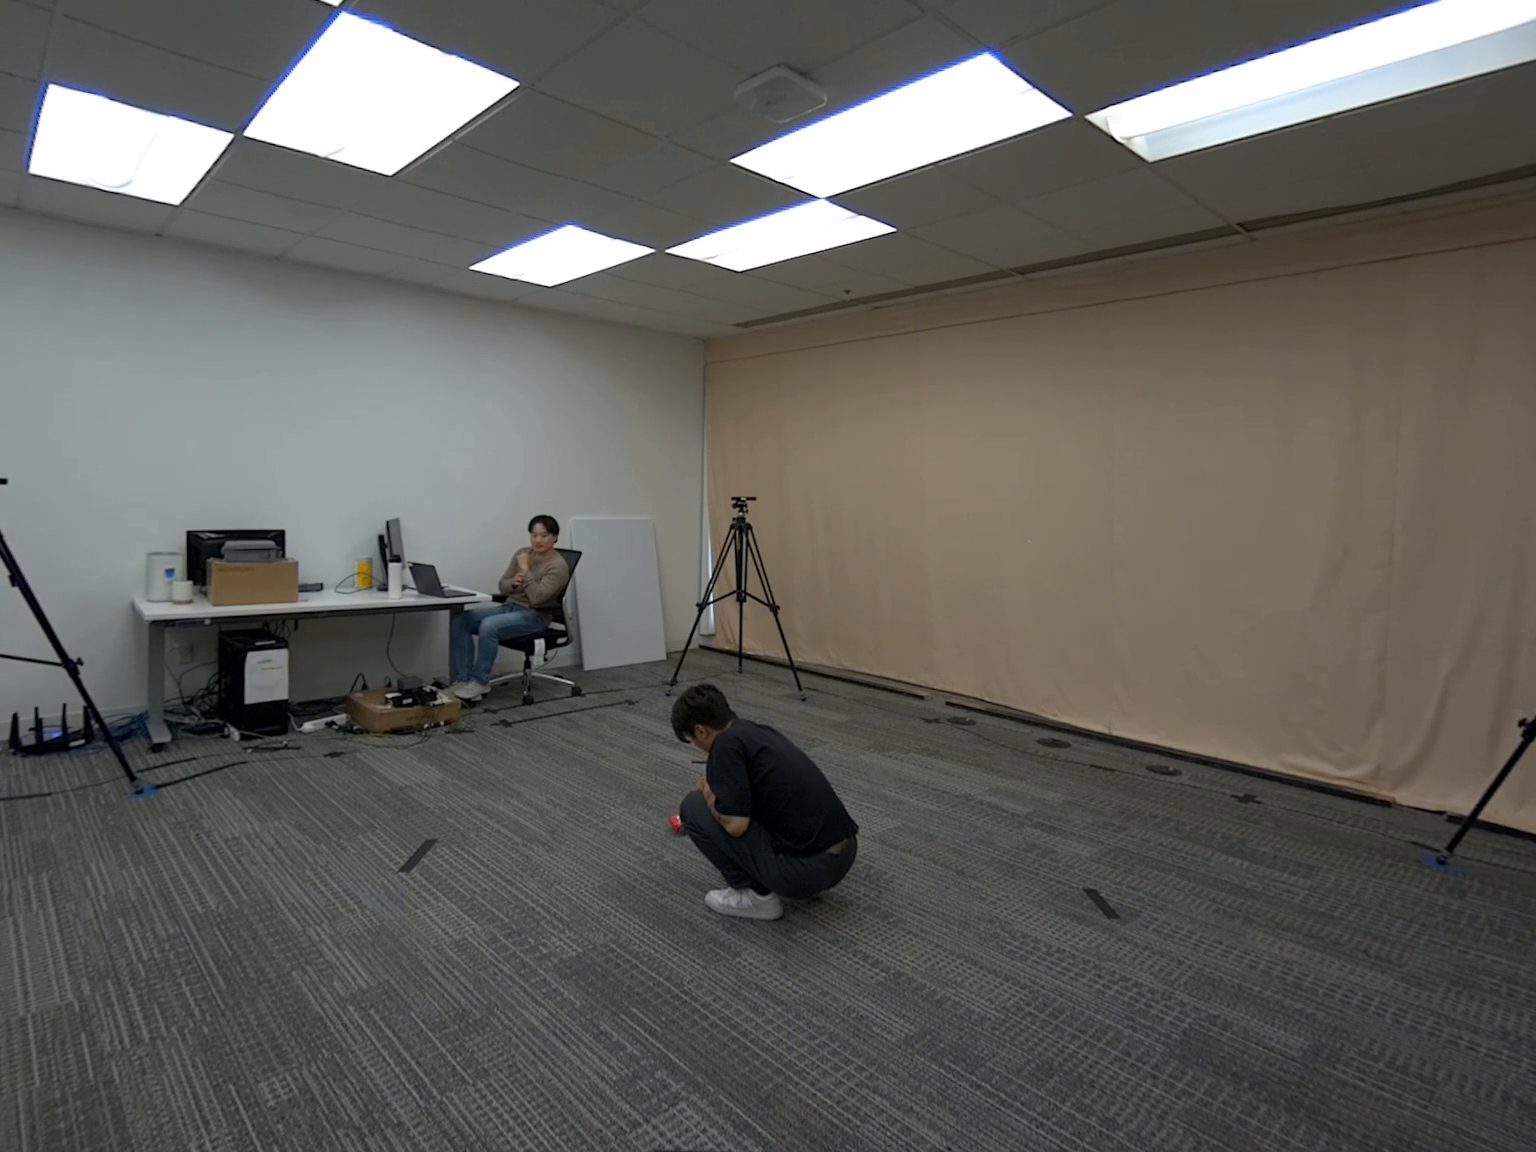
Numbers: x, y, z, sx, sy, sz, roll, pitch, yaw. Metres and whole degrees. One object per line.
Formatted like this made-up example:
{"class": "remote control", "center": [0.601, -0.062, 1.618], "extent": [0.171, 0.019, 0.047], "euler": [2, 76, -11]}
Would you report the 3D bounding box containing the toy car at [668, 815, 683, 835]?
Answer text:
{"class": "toy car", "center": [-0.287, 1.035, 3.554], "extent": [0.251, 0.083, 0.133], "euler": [-11, 9, -22]}
